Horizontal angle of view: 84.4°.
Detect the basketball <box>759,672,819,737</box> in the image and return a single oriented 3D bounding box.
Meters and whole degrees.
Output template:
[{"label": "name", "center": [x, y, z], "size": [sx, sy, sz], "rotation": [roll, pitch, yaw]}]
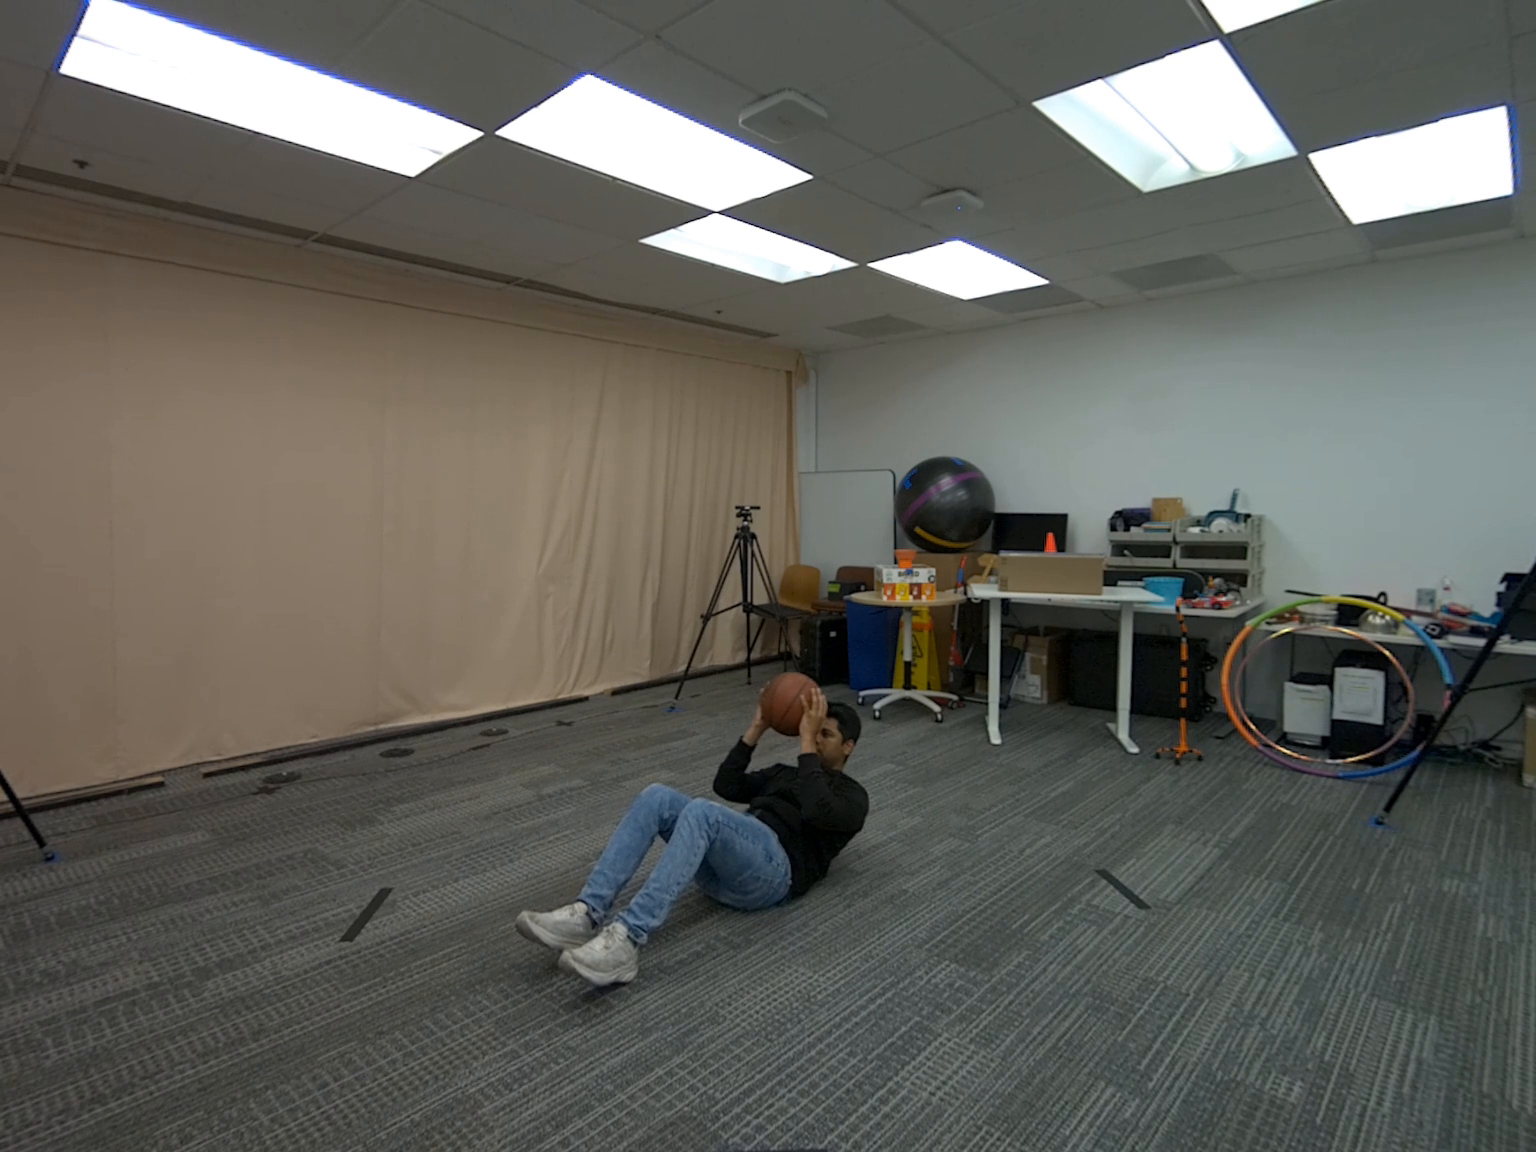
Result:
[{"label": "basketball", "center": [0.099, 0.490, 3.181], "size": [0.236, 0.235, 0.237], "rotation": [0, 4, -2]}]
